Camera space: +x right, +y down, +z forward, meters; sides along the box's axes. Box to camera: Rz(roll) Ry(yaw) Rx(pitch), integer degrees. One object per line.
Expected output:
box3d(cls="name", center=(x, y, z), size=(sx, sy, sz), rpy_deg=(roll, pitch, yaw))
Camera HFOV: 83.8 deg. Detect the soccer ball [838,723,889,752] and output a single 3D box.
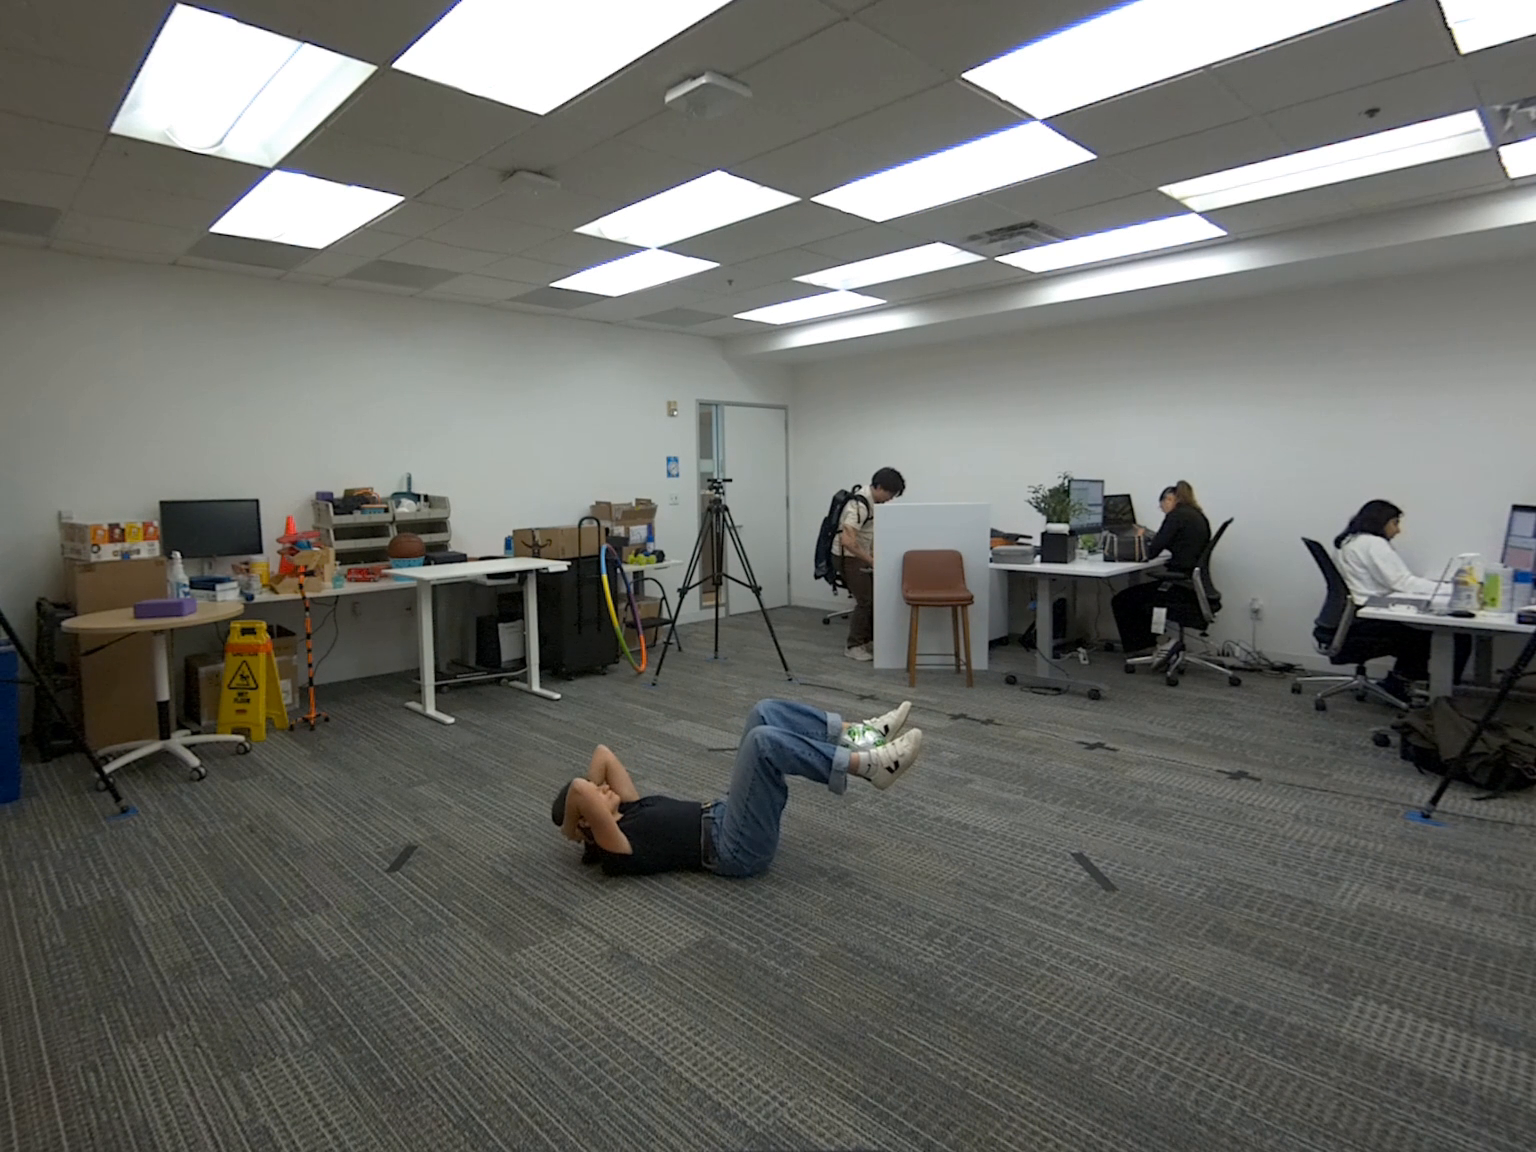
box3d(cls="soccer ball", center=(0.345, 0.627, 3.070), size=(0.187, 0.187, 0.188), rpy_deg=(0, 1, -2))
